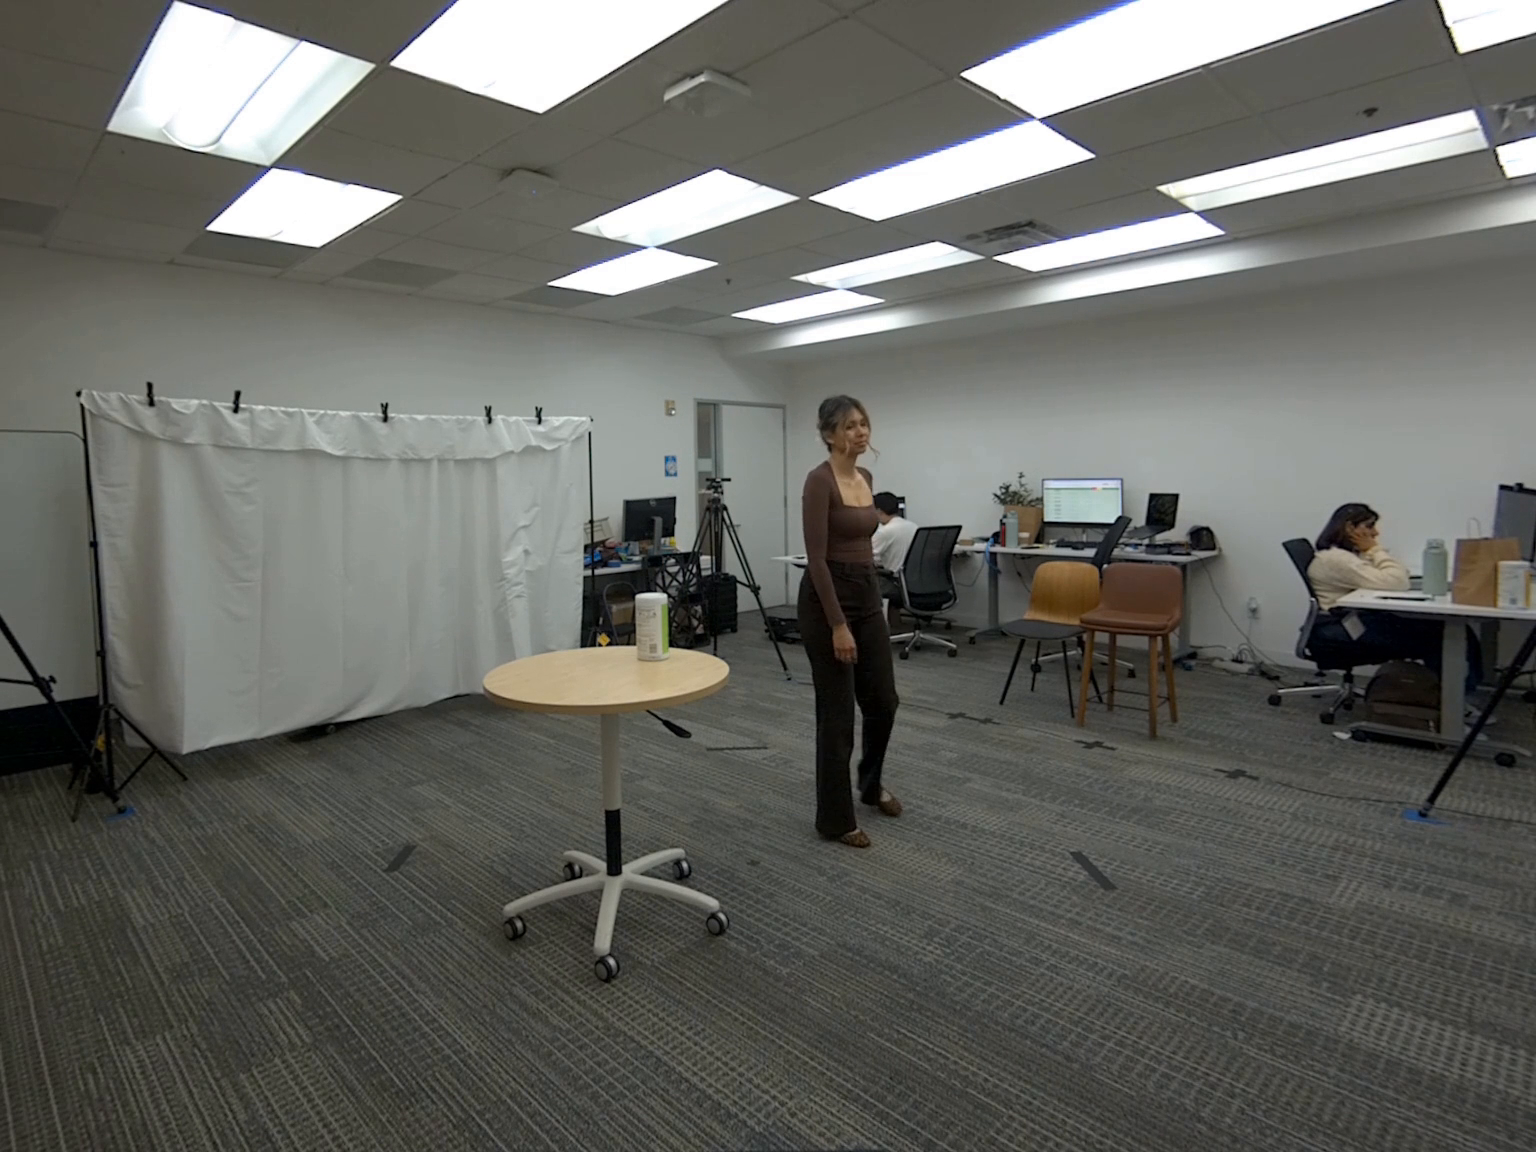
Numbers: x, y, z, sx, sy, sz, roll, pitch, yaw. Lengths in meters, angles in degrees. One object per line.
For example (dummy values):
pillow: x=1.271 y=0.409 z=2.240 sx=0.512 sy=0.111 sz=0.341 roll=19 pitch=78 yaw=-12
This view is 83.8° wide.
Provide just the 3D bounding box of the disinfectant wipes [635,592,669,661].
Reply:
disinfectant wipes: x=-0.389 y=0.172 z=2.867 sx=0.118 sy=0.217 sz=0.118 roll=0 pitch=4 yaw=-2
